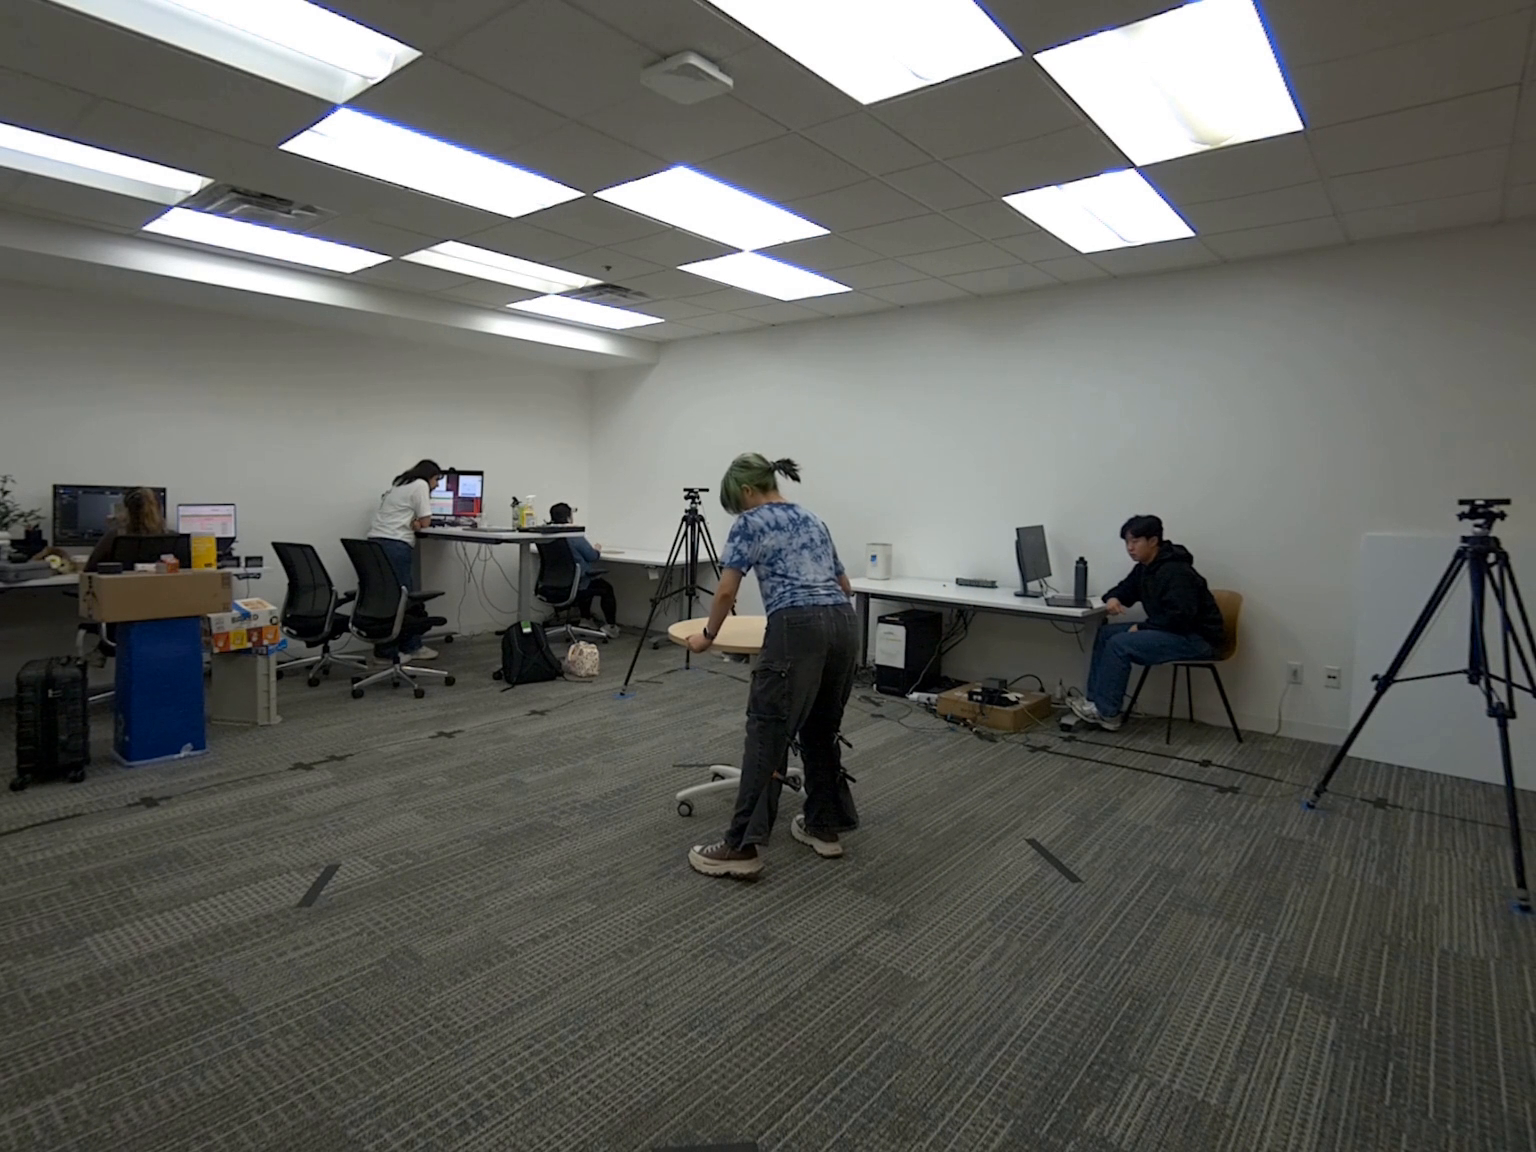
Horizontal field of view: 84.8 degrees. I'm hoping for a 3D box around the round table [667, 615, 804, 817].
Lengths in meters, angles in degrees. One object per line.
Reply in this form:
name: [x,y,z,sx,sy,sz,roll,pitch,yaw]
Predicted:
round table: [-0.074,0.622,3.699,0.763,0.791,0.767,0,4,-2]
